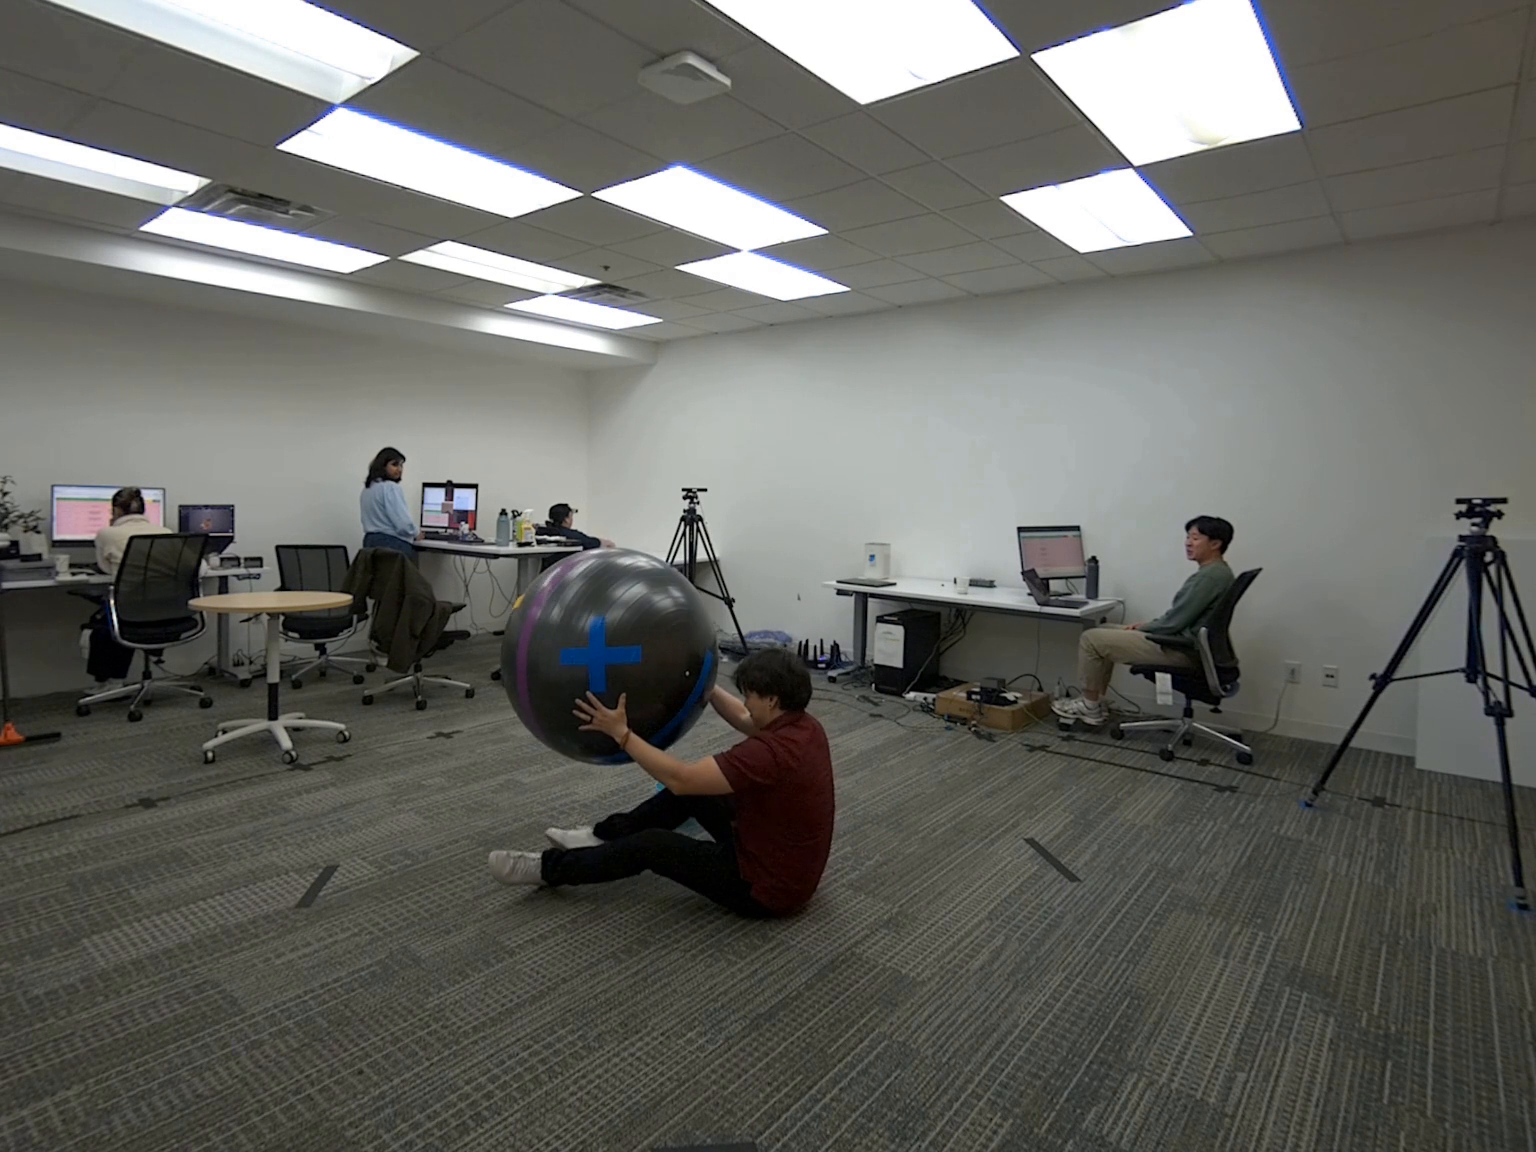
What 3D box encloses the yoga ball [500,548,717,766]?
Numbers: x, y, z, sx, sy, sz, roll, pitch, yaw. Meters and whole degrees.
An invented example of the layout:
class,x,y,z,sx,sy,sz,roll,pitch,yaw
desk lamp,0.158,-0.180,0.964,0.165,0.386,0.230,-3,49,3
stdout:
class,x,y,z,sx,sy,sz,roll,pitch,yaw
yoga ball,-0.565,0.282,3.007,0.757,0.755,0.762,1,4,-2
